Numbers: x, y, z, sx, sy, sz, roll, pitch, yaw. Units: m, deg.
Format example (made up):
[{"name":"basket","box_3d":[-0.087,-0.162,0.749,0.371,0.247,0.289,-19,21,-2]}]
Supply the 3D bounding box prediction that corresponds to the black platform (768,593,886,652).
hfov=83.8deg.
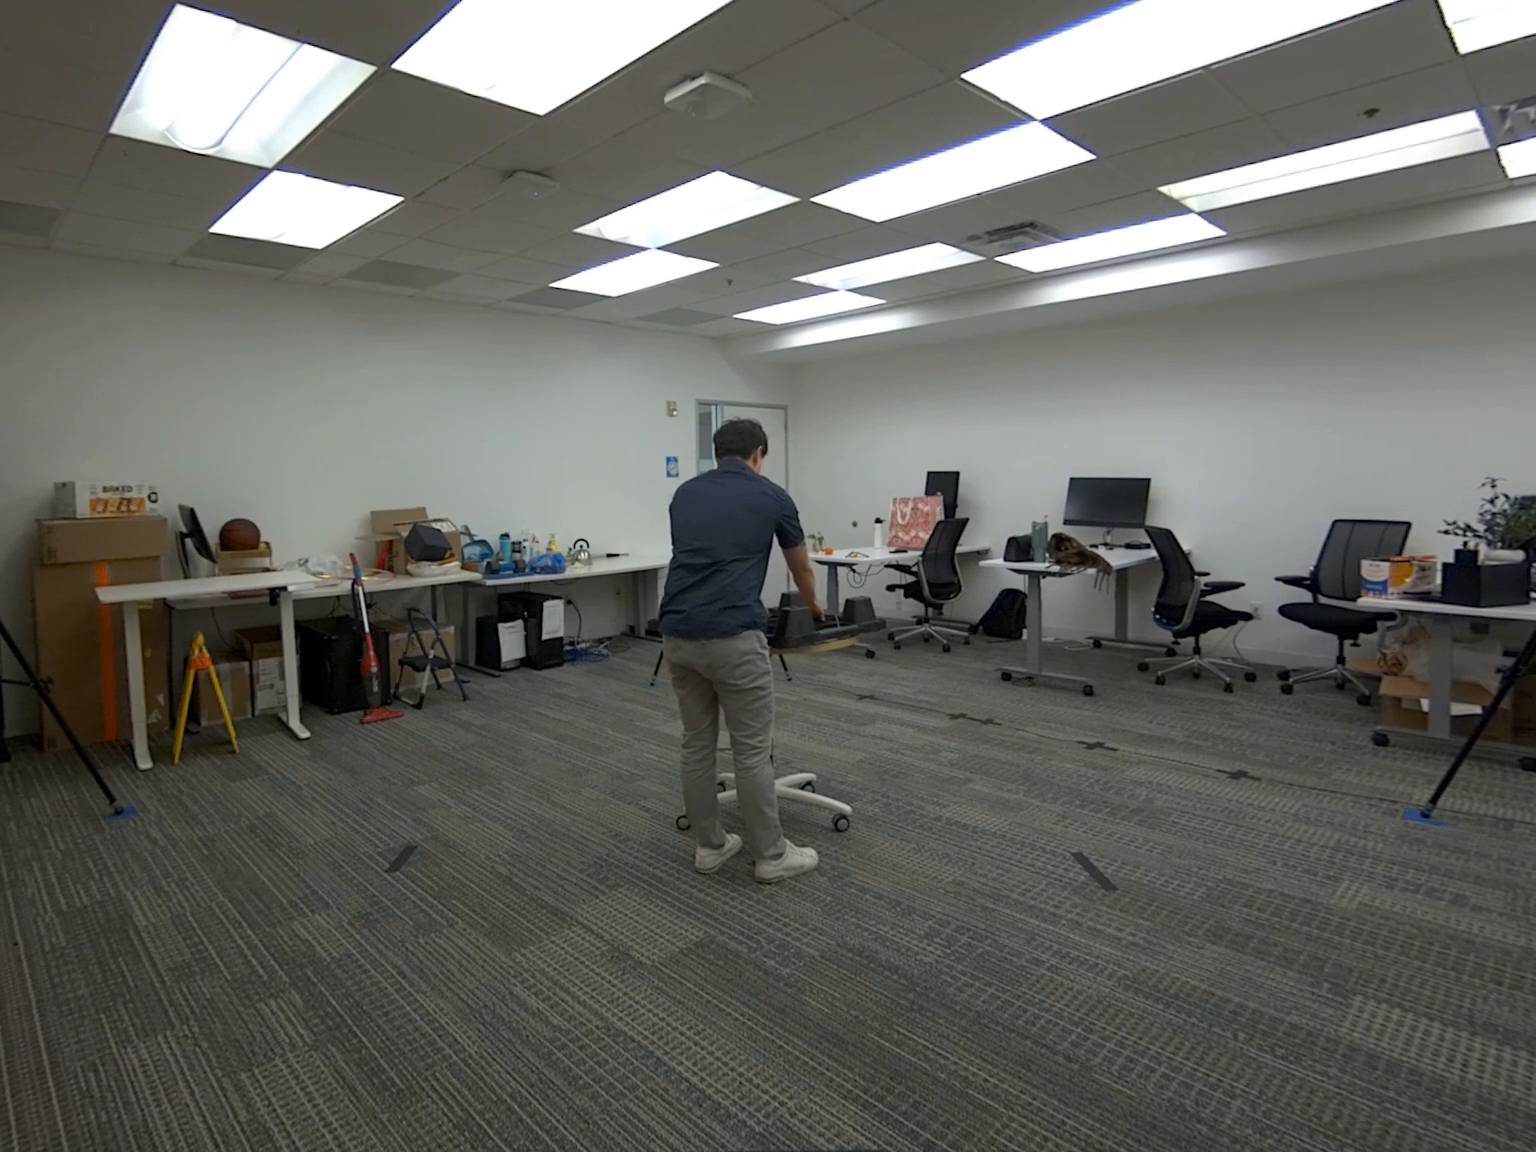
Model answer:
[{"name":"black platform","box_3d":[-0.009,0.154,3.484,0.830,0.143,0.589,4,8,45]}]
